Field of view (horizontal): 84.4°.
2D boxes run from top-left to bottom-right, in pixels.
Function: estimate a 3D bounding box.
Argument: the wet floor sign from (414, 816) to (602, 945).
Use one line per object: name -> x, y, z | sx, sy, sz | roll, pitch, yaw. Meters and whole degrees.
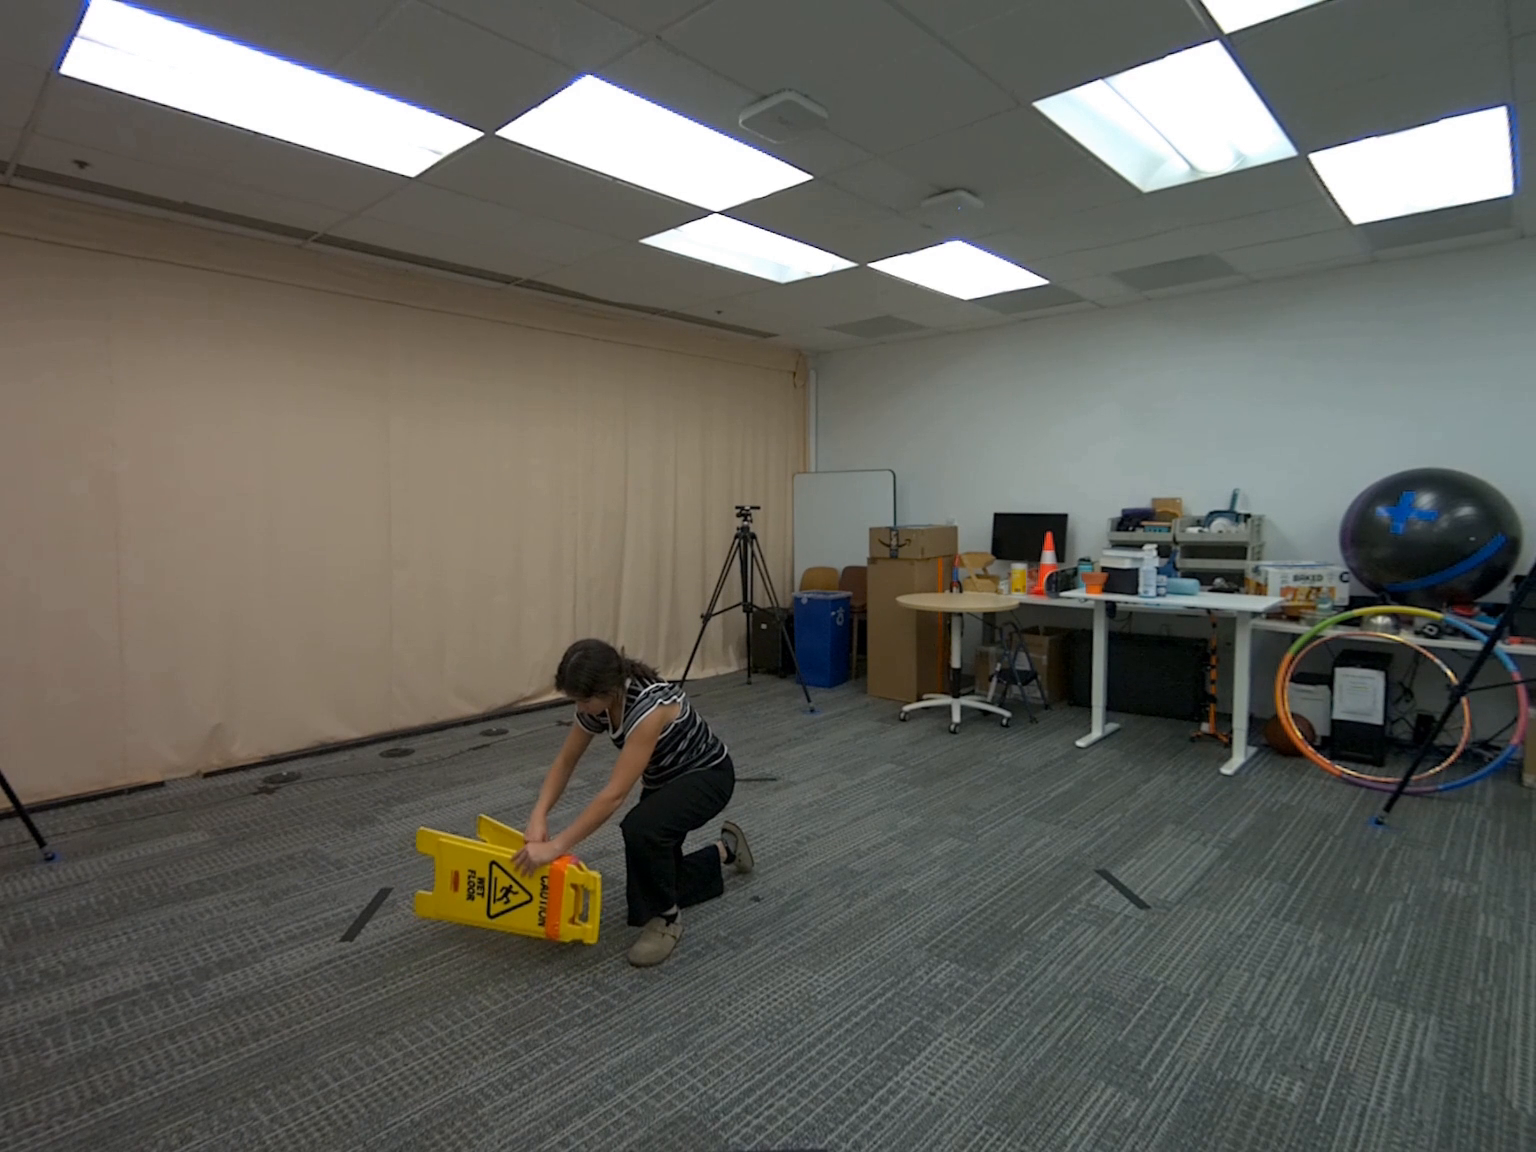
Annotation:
wet floor sign -> -0.781, 0.971, 2.624 | 0.665, 0.283, 0.281 | 2, -3, 31
